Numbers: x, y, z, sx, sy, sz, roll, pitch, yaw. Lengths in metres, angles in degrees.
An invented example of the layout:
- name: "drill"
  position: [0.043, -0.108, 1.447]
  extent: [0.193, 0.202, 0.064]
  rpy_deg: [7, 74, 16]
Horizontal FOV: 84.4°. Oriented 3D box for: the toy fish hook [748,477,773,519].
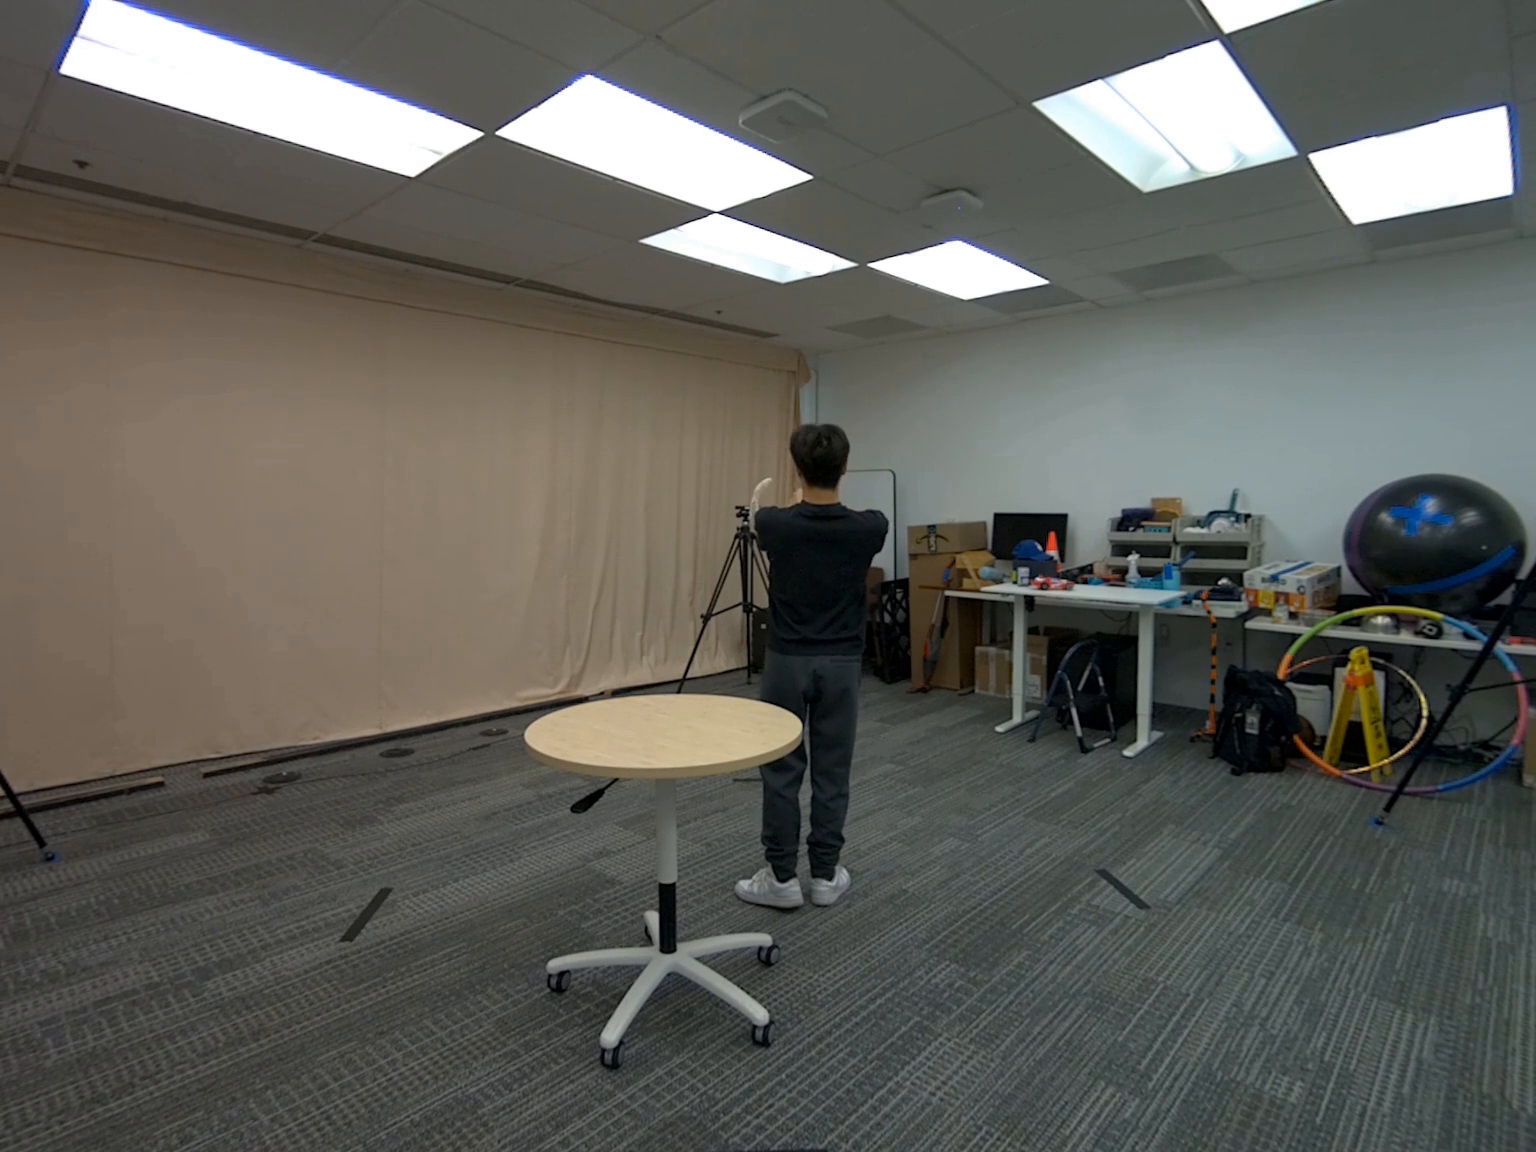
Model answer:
- name: "toy fish hook"
  position: [0.125, -0.397, 3.465]
  extent: [0.225, 0.506, 0.048]
  rpy_deg: [34, 2, 3]
